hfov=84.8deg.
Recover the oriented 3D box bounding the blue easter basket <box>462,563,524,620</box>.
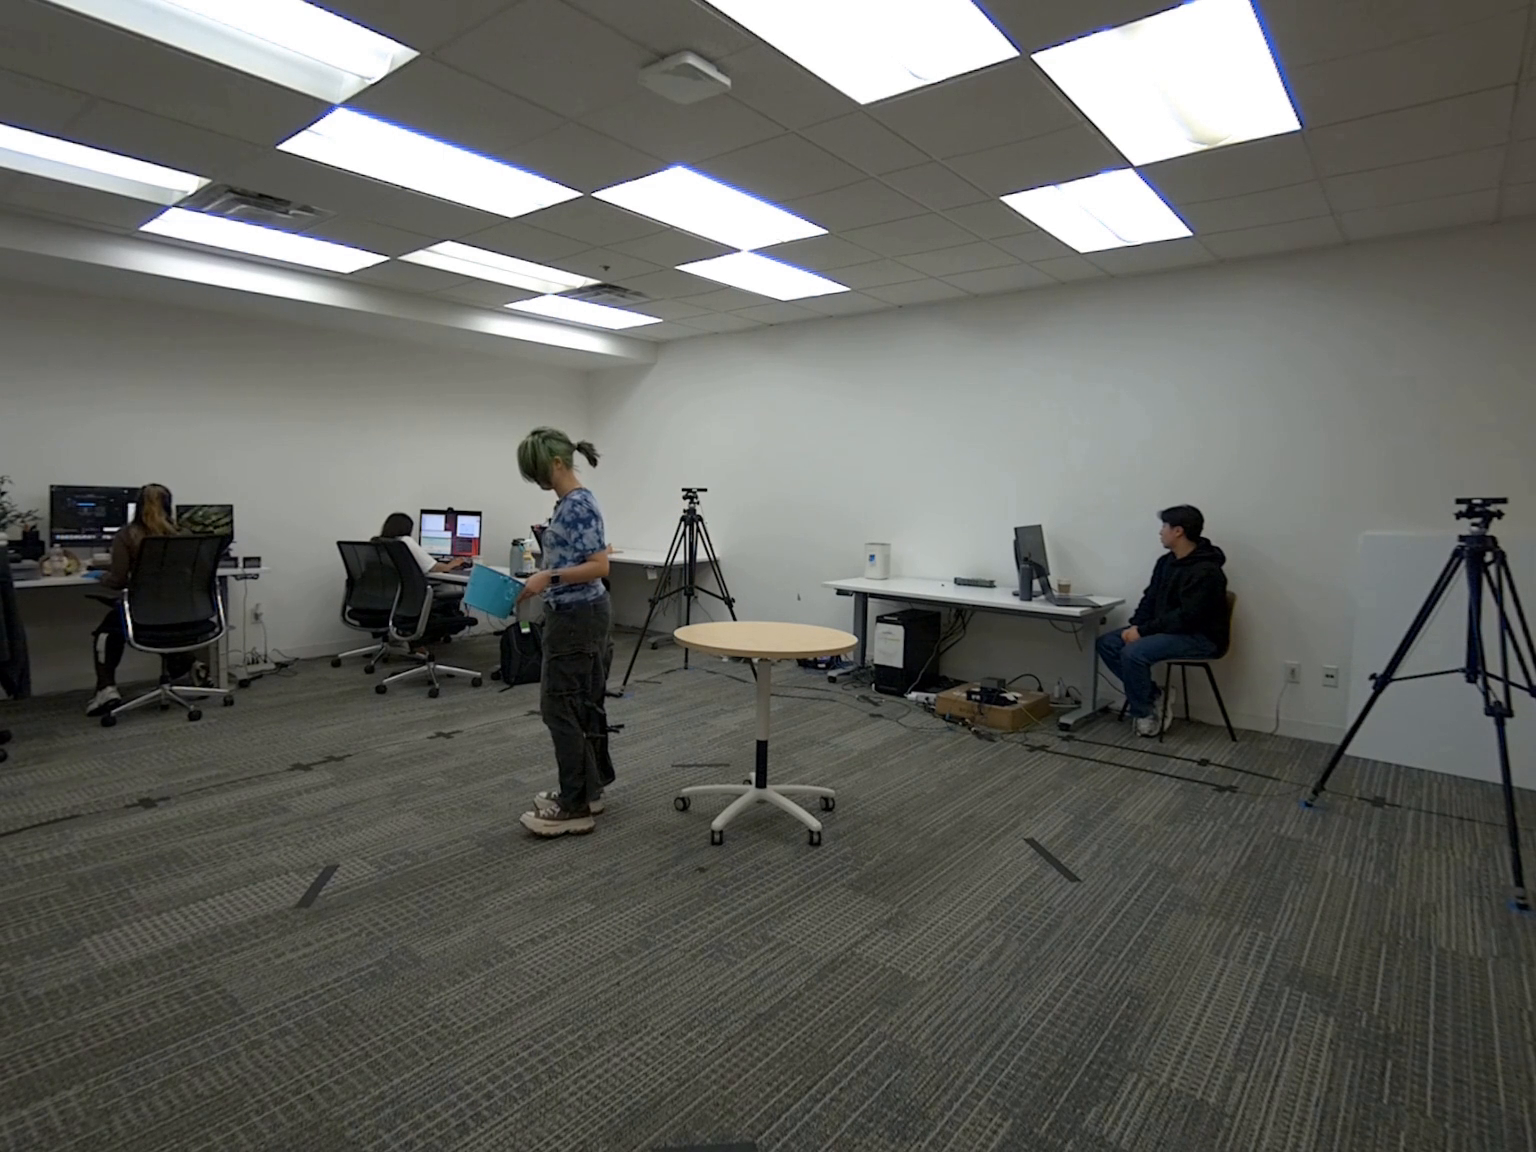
[{"bbox_3d":[-1.072,0.065,3.295,0.244,0.156,0.242,22,-7,1],"label":"blue easter basket"}]
